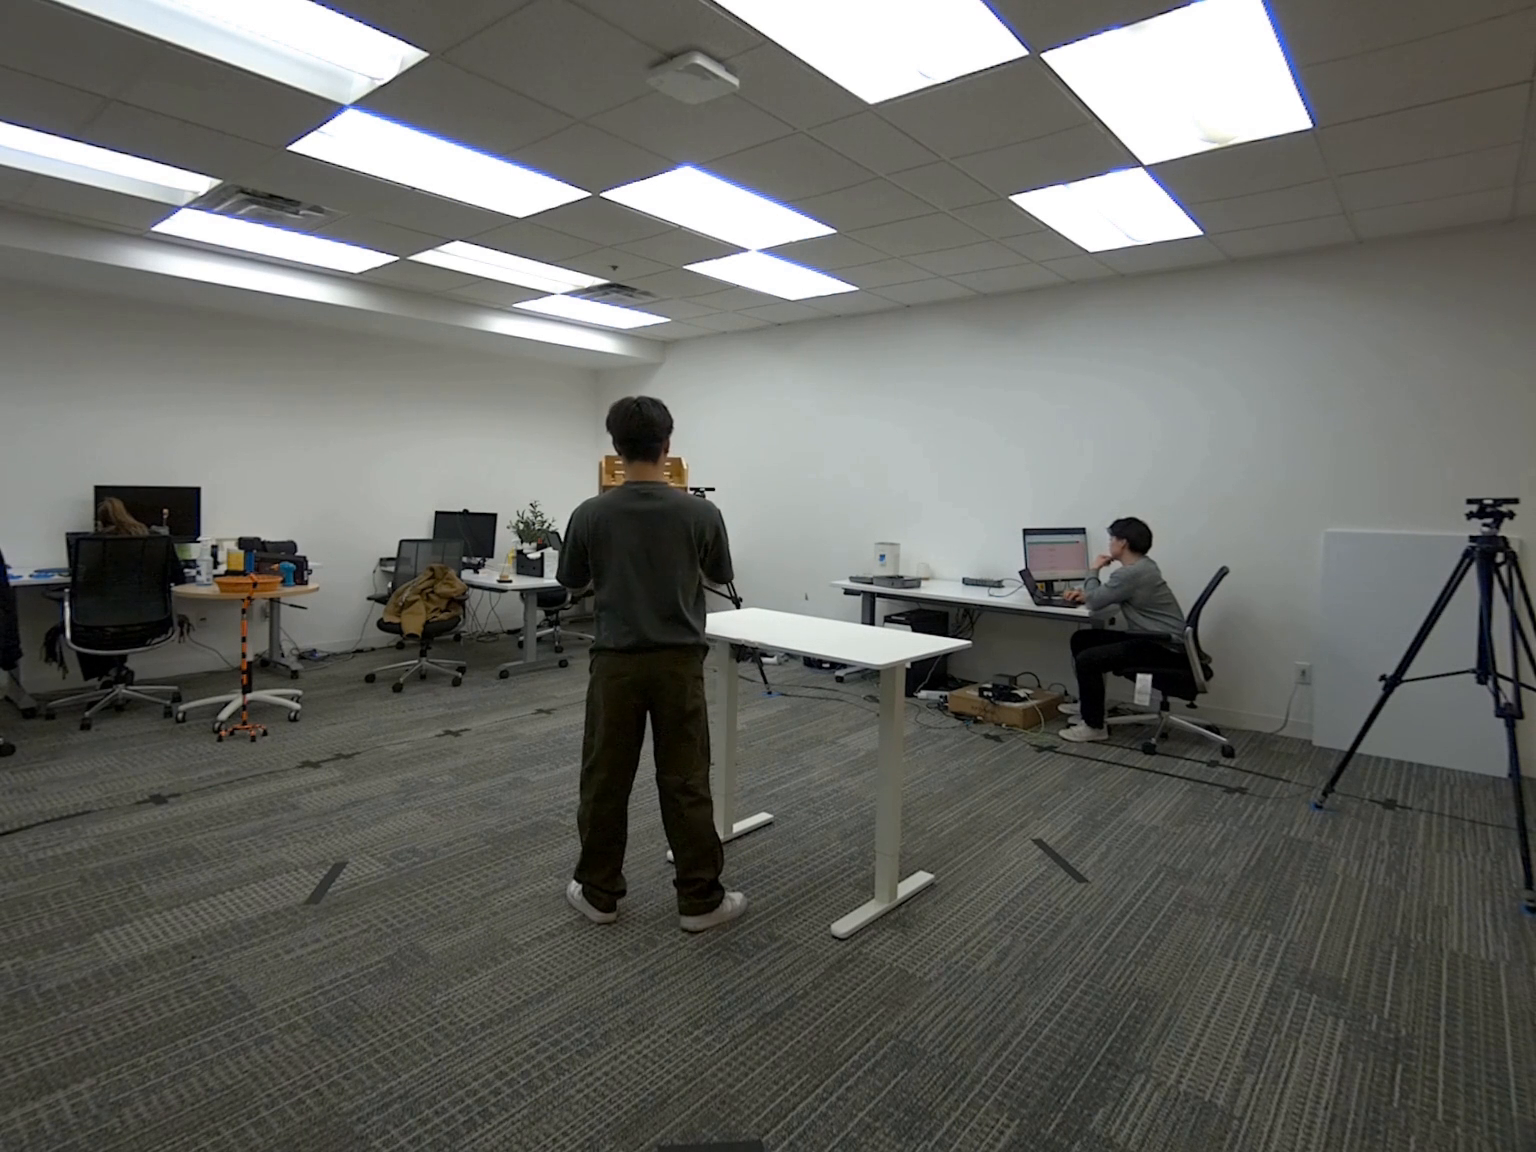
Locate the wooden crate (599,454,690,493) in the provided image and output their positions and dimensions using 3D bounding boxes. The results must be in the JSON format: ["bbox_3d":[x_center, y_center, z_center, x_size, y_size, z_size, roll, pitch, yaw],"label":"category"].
[{"bbox_3d":[-0.453,-0.272,3.059,0.322,0.268,0.310,0,23,-9],"label":"wooden crate"}]
